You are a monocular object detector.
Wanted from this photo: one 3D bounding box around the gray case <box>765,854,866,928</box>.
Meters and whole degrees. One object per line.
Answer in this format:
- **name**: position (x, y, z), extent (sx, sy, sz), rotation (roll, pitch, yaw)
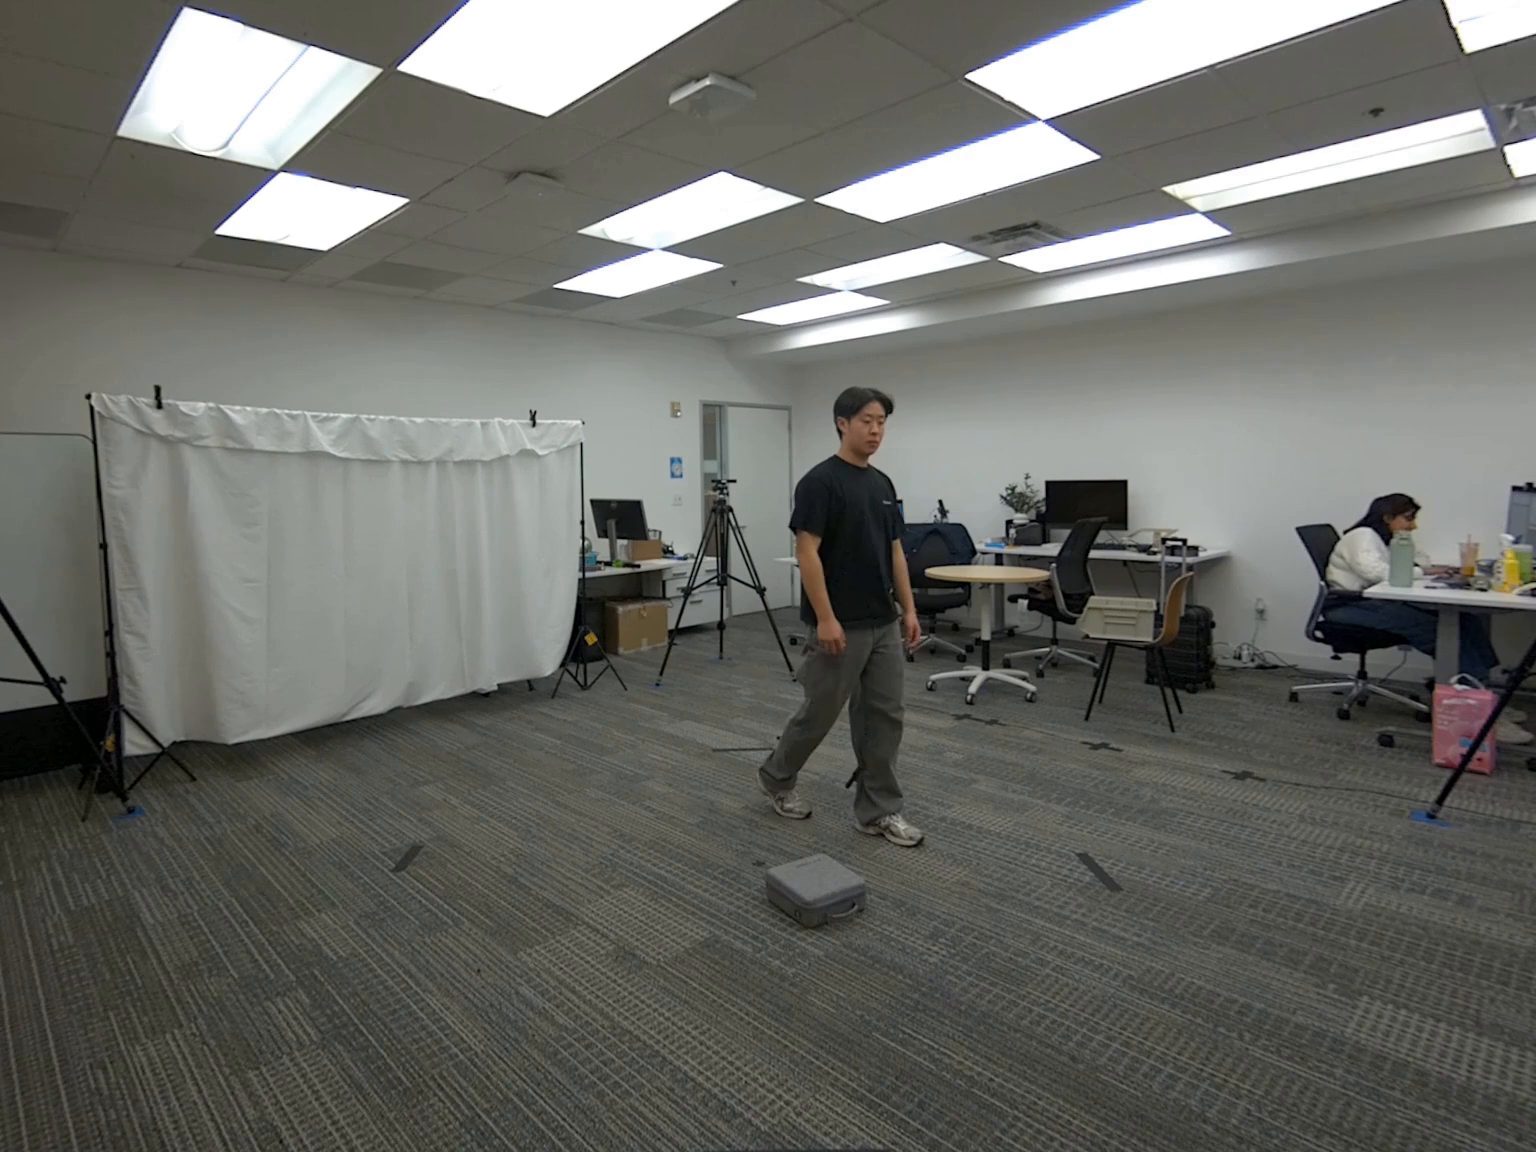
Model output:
- **gray case**: position (0.166, 1.025, 2.791), extent (0.257, 0.102, 0.295), rotation (-5, 8, -32)
